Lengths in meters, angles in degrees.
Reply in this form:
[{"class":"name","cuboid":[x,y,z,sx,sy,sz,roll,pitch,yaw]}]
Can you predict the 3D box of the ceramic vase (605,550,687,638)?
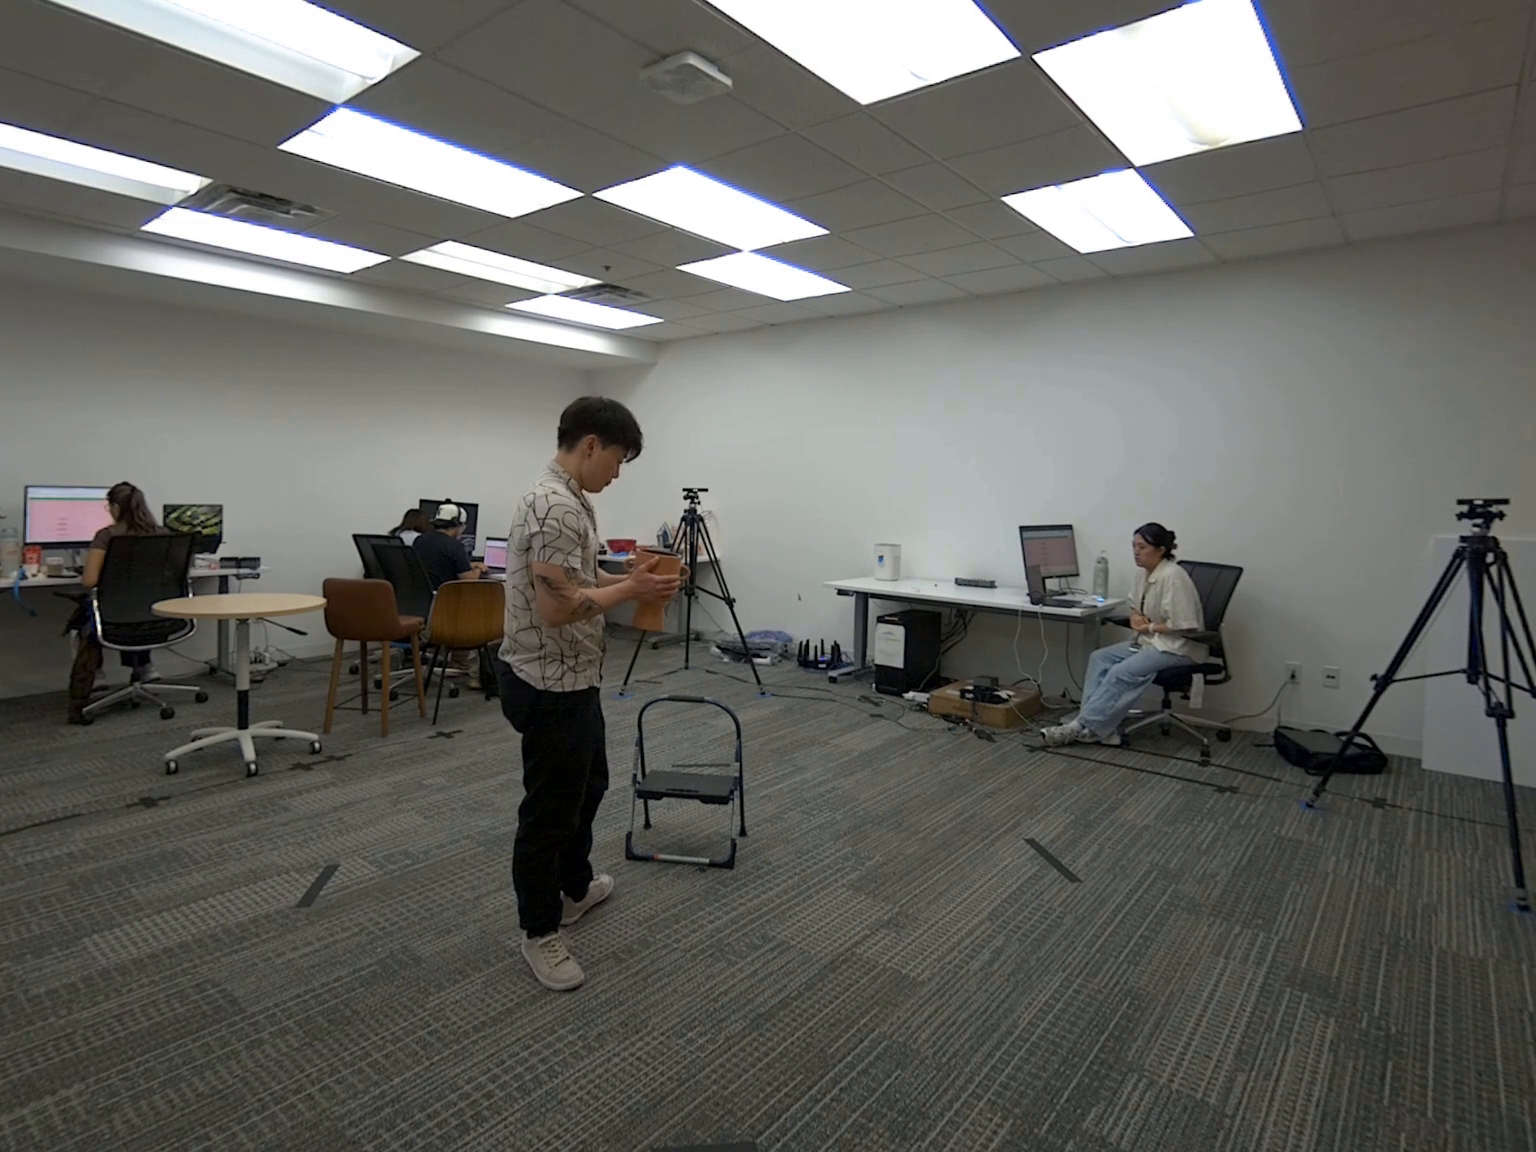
[{"class":"ceramic vase","cuboid":[-0.355,0.046,2.442,0.163,0.219,0.131,10,3,23]}]
